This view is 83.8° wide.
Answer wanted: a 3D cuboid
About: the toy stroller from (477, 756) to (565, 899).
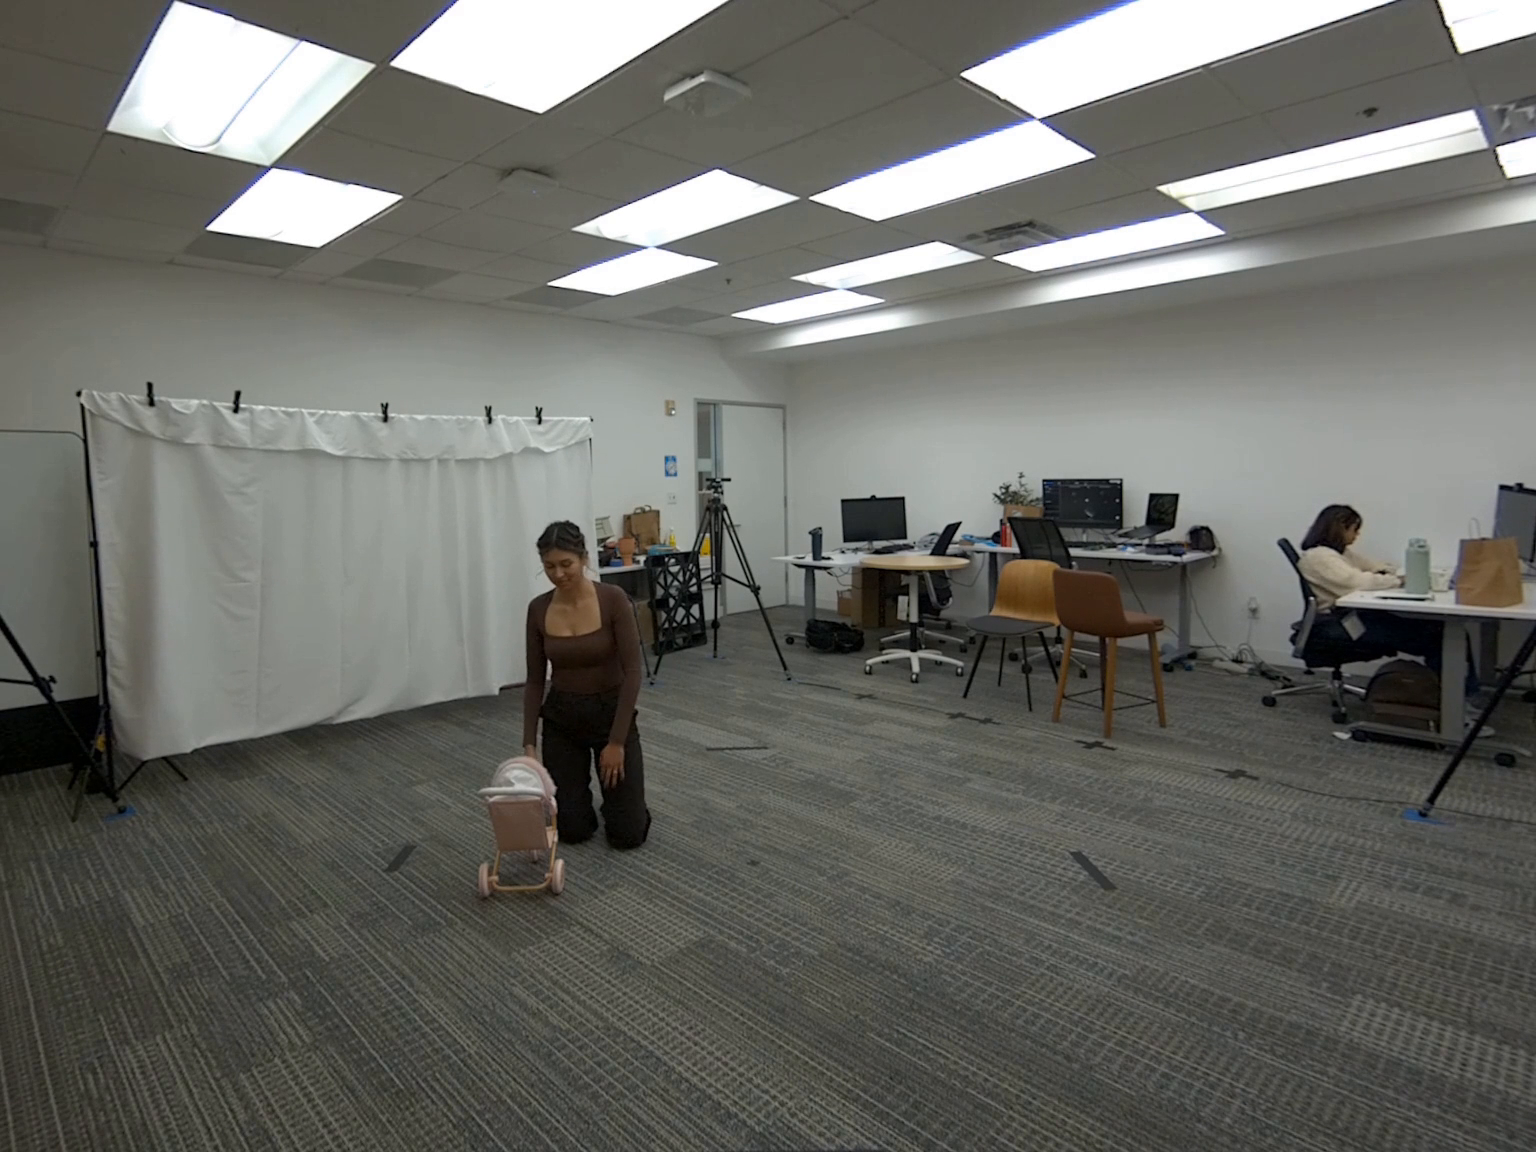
[{"bbox_3d":[-0.850,0.858,2.955,0.281,0.525,0.348,-1,21,-2],"label":"toy stroller"}]
